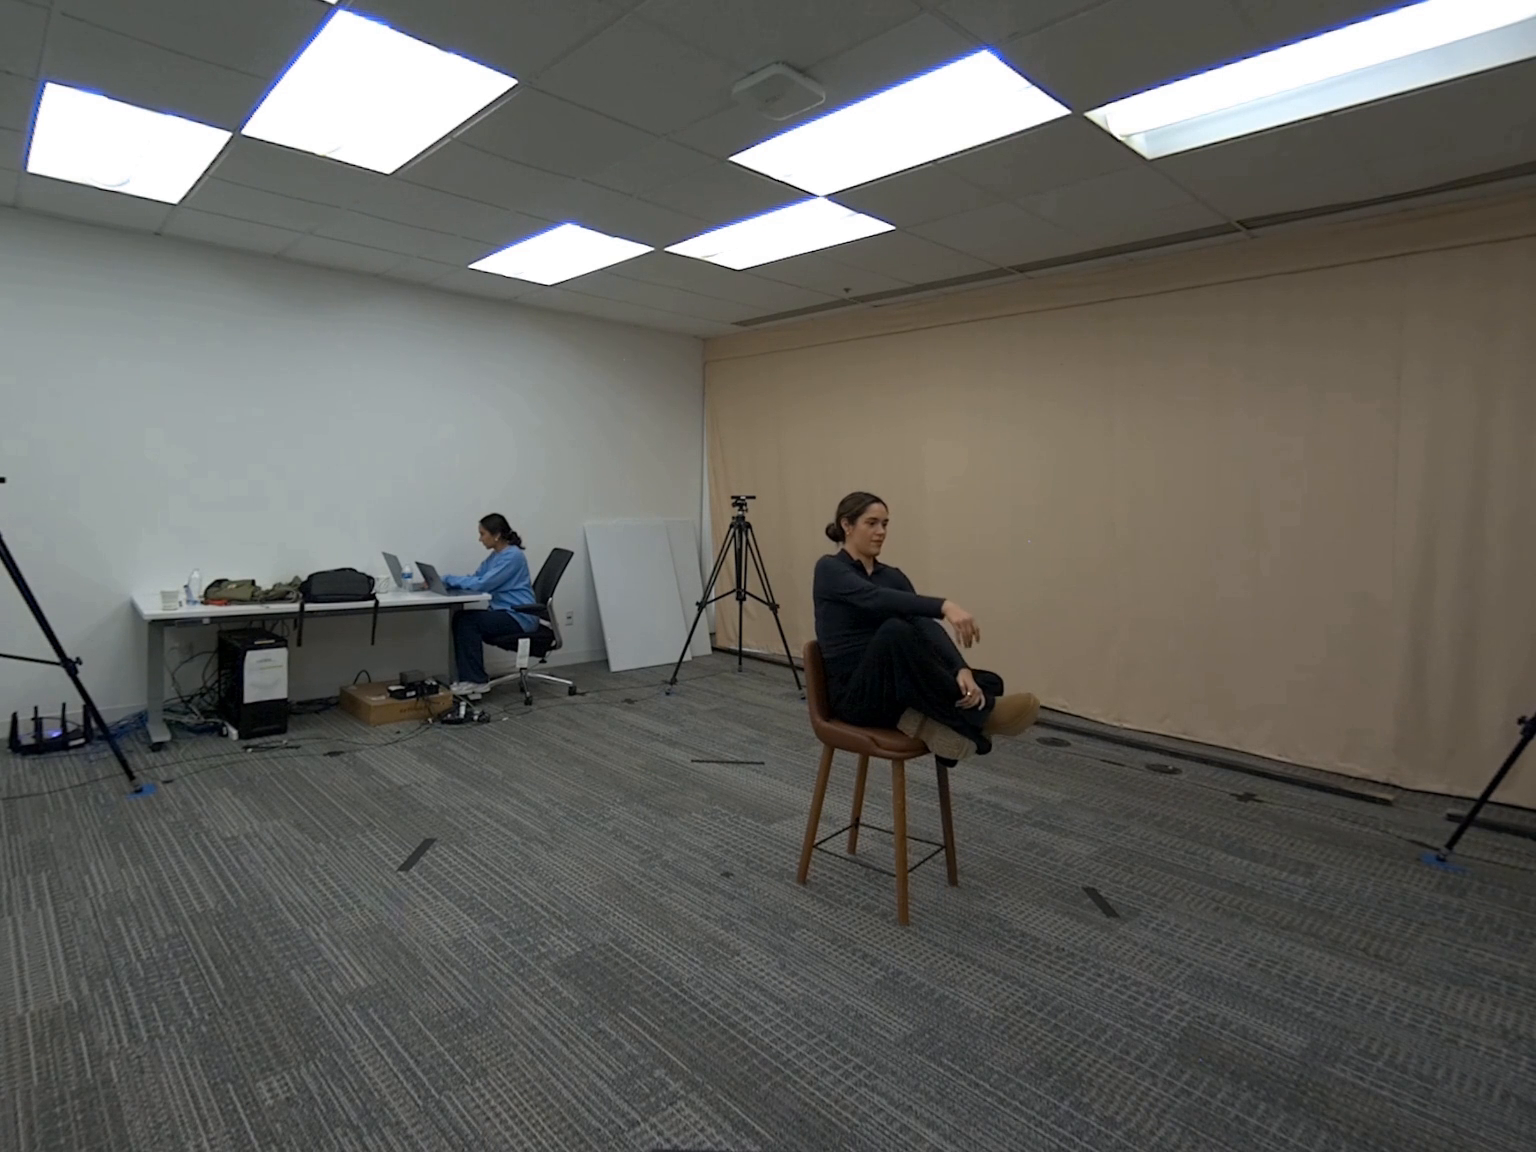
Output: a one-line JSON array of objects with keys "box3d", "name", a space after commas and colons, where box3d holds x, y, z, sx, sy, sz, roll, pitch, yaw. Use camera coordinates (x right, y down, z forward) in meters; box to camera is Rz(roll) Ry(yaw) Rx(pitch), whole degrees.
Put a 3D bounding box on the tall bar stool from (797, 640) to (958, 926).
[{"box3d": [0.393, 0.688, 3.036, 0.479, 0.888, 0.446, 2, 2, 39], "name": "tall bar stool"}]
